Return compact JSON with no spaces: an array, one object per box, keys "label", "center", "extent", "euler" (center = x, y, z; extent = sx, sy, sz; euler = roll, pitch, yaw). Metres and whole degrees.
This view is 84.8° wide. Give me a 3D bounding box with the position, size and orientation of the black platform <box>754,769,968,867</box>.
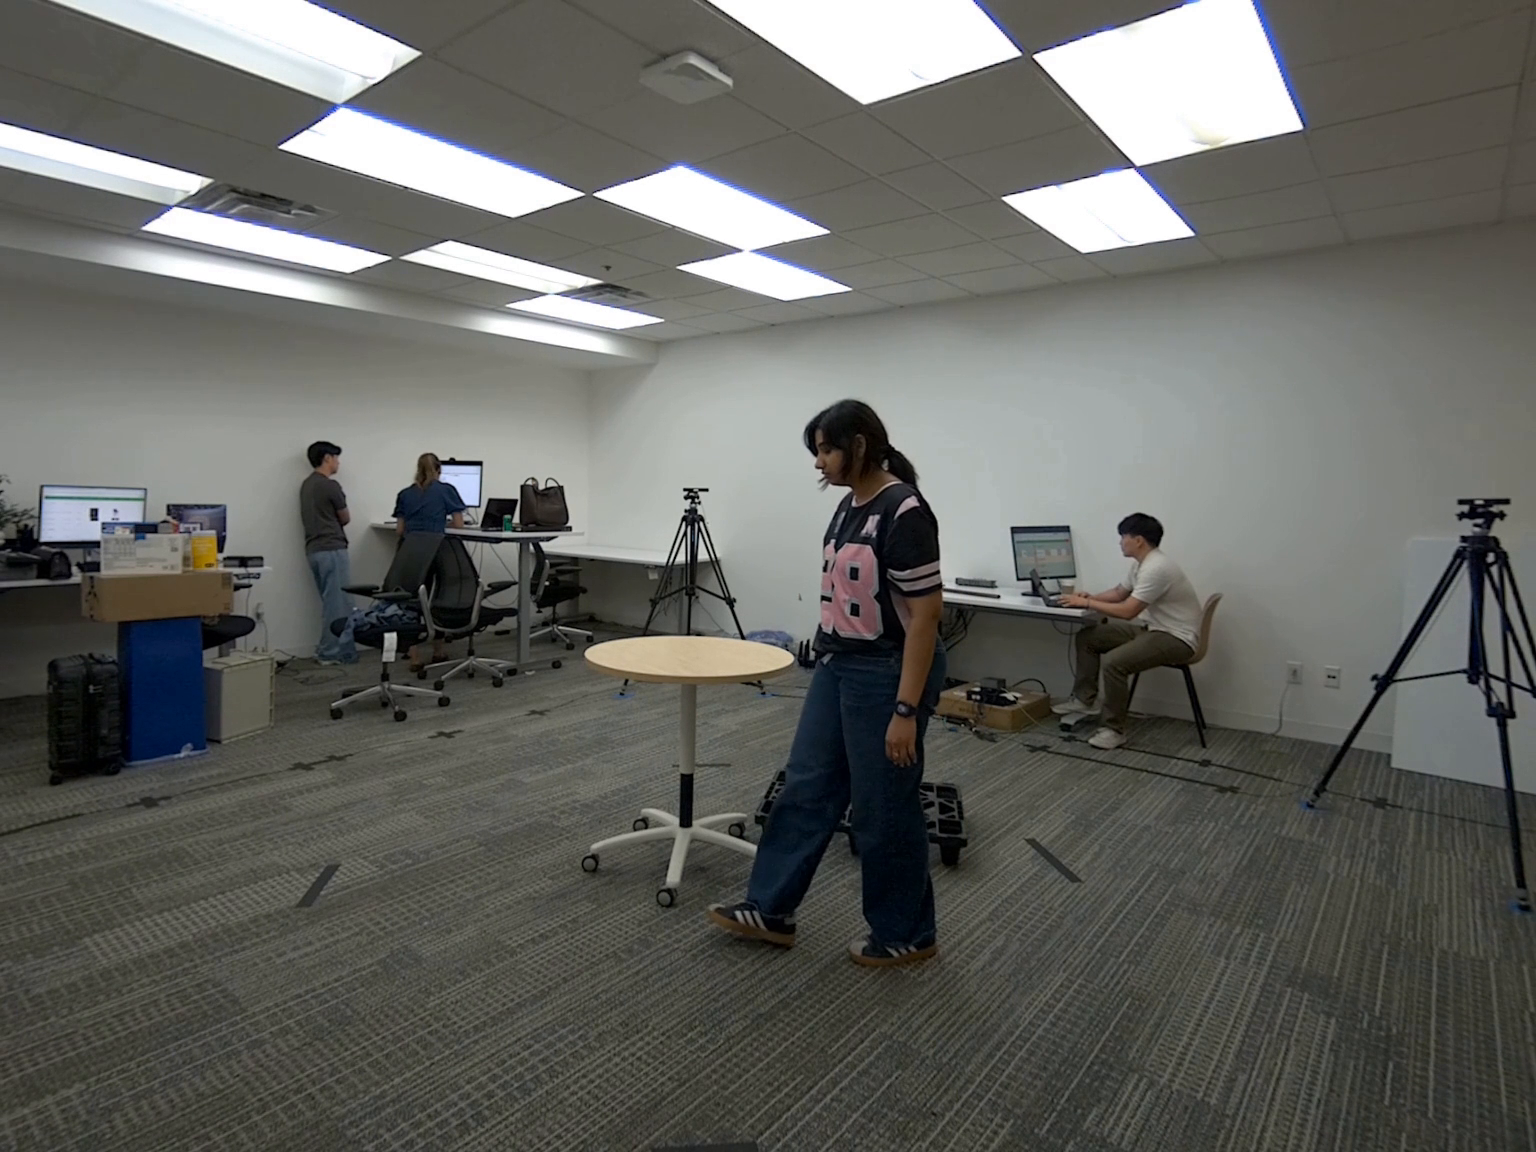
[{"label":"black platform","center":[0.382,0.975,3.483],"extent":[0.817,0.143,0.600],"euler":[2,6,12]}]
